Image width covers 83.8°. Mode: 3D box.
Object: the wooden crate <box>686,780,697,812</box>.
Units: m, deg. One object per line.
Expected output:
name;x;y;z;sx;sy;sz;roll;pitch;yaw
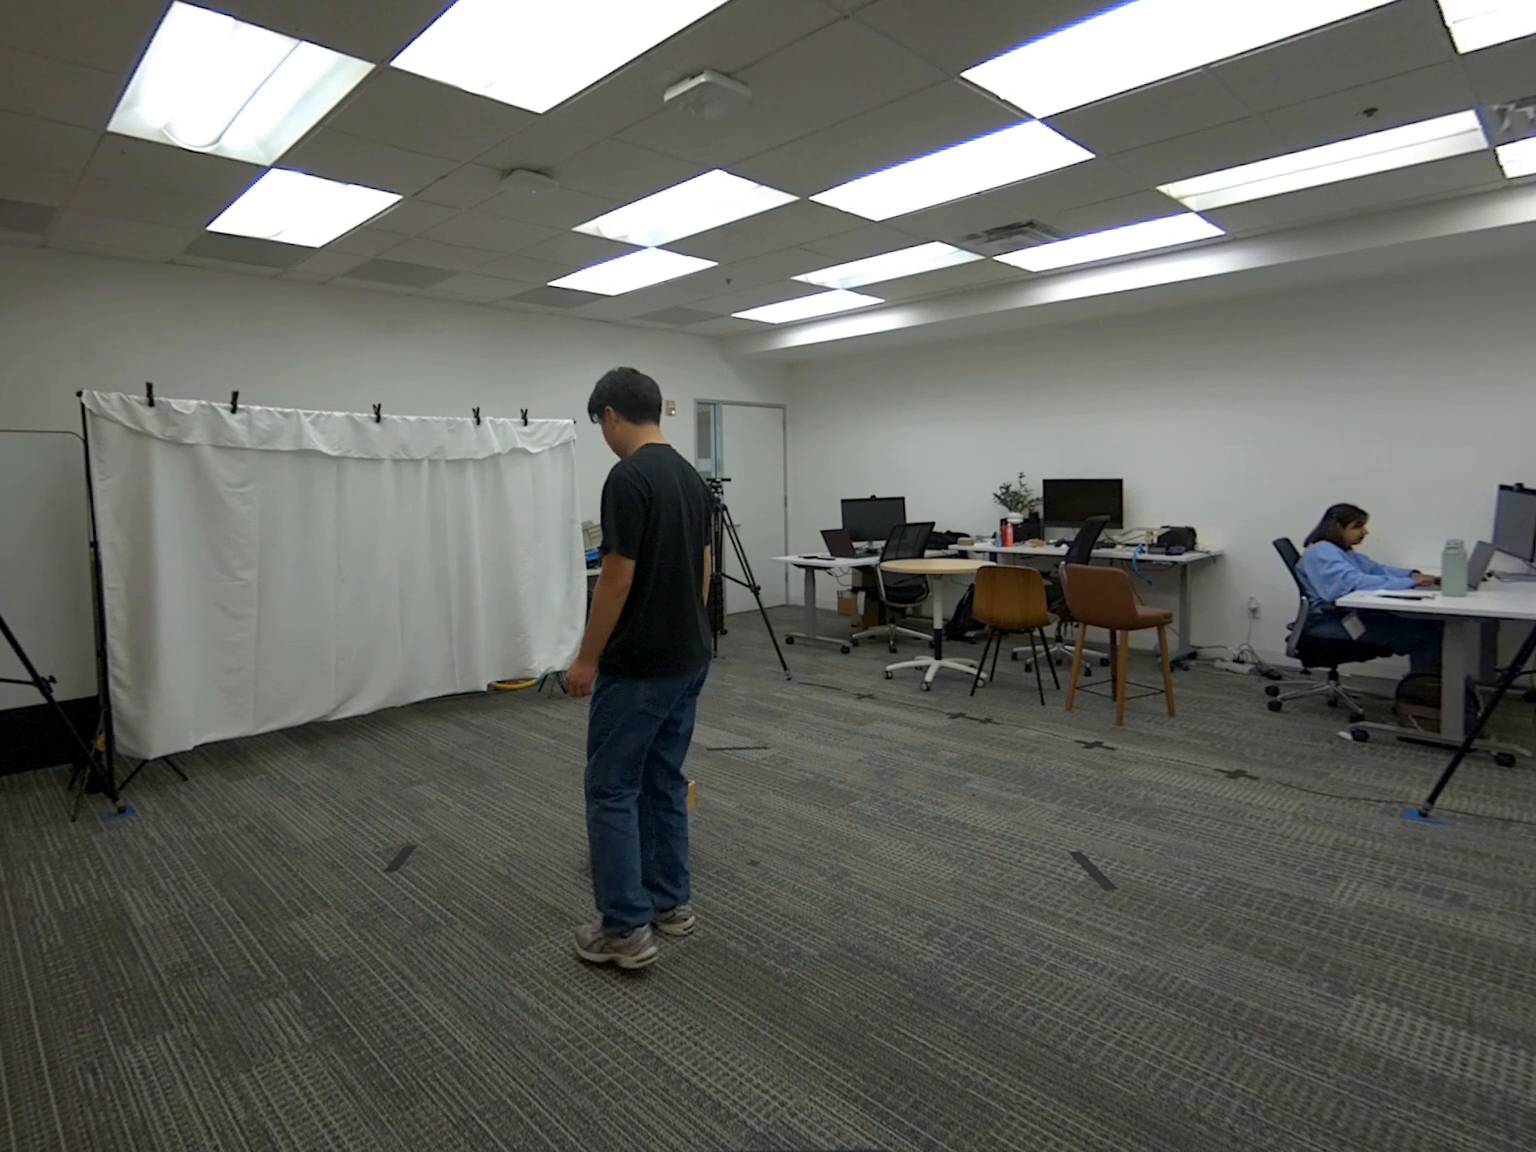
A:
wooden crate;-0.465;0.911;3.162;0.309;0.272;0.318;3;6;26
